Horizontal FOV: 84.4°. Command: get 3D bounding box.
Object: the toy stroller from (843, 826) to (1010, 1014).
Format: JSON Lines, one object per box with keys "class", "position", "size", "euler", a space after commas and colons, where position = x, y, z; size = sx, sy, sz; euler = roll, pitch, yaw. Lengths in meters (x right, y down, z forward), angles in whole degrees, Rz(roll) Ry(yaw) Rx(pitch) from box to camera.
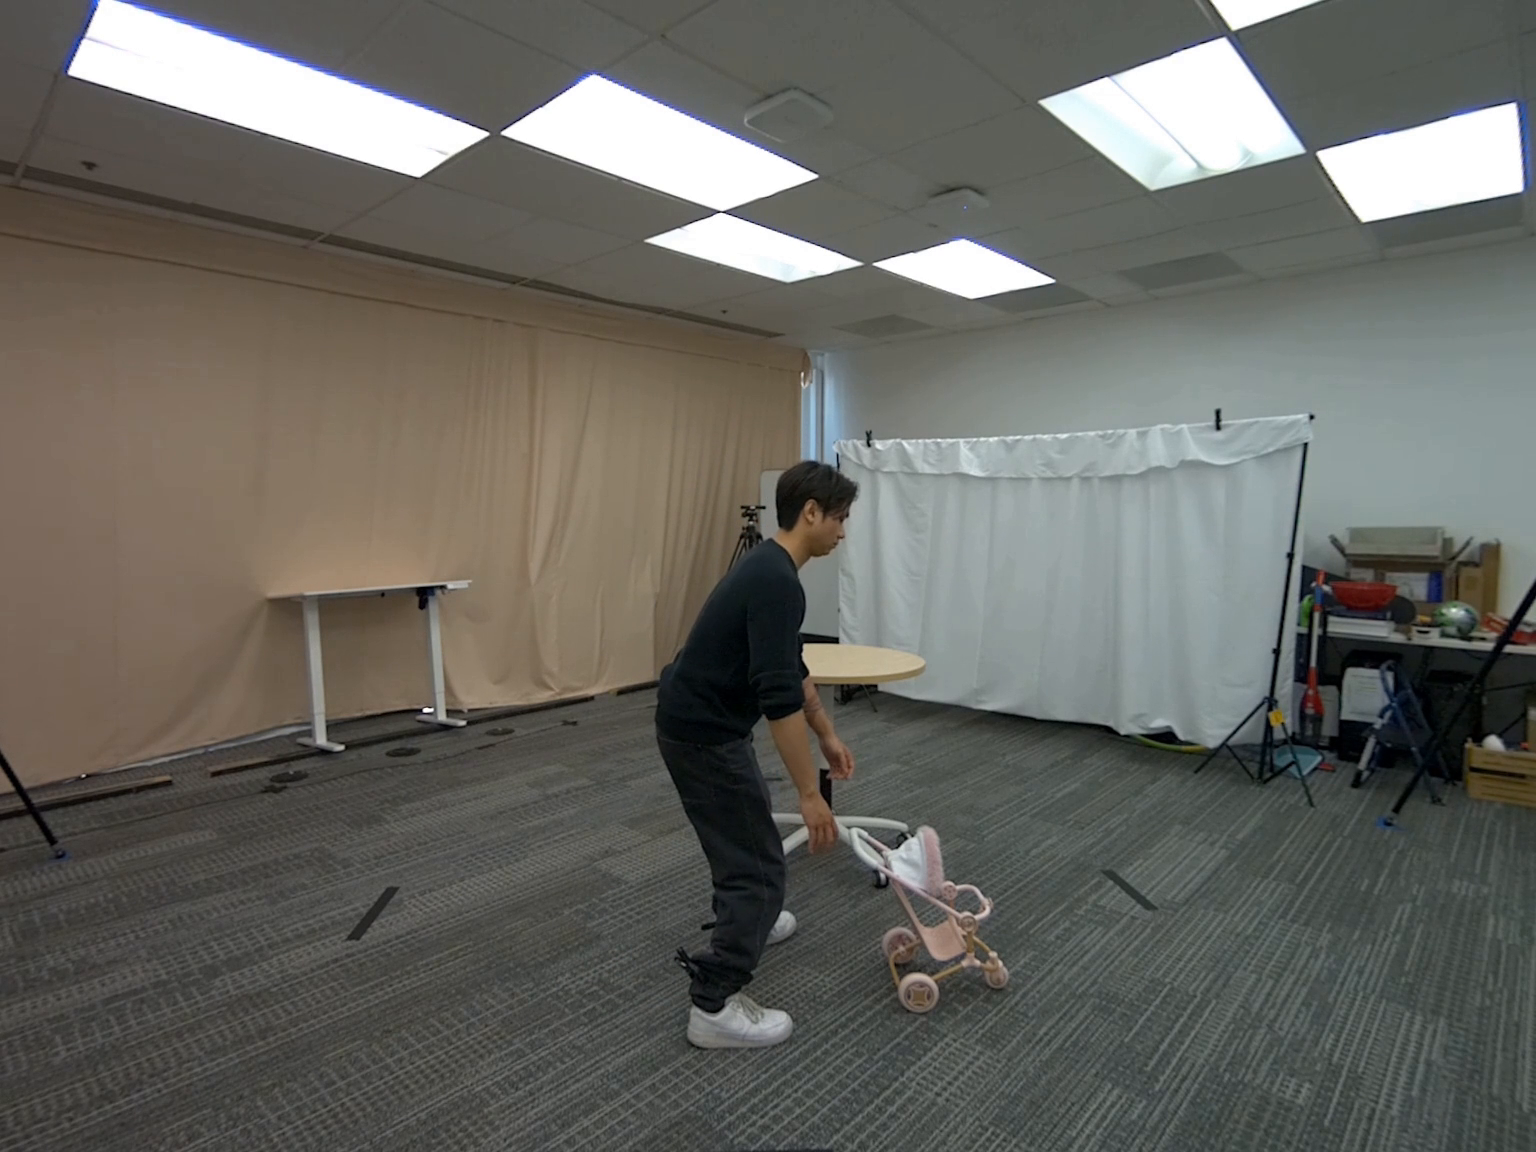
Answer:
{"class": "toy stroller", "position": [0.482, 0.970, 2.412], "size": [0.343, 0.534, 0.280], "euler": [-15, 2, 5]}
